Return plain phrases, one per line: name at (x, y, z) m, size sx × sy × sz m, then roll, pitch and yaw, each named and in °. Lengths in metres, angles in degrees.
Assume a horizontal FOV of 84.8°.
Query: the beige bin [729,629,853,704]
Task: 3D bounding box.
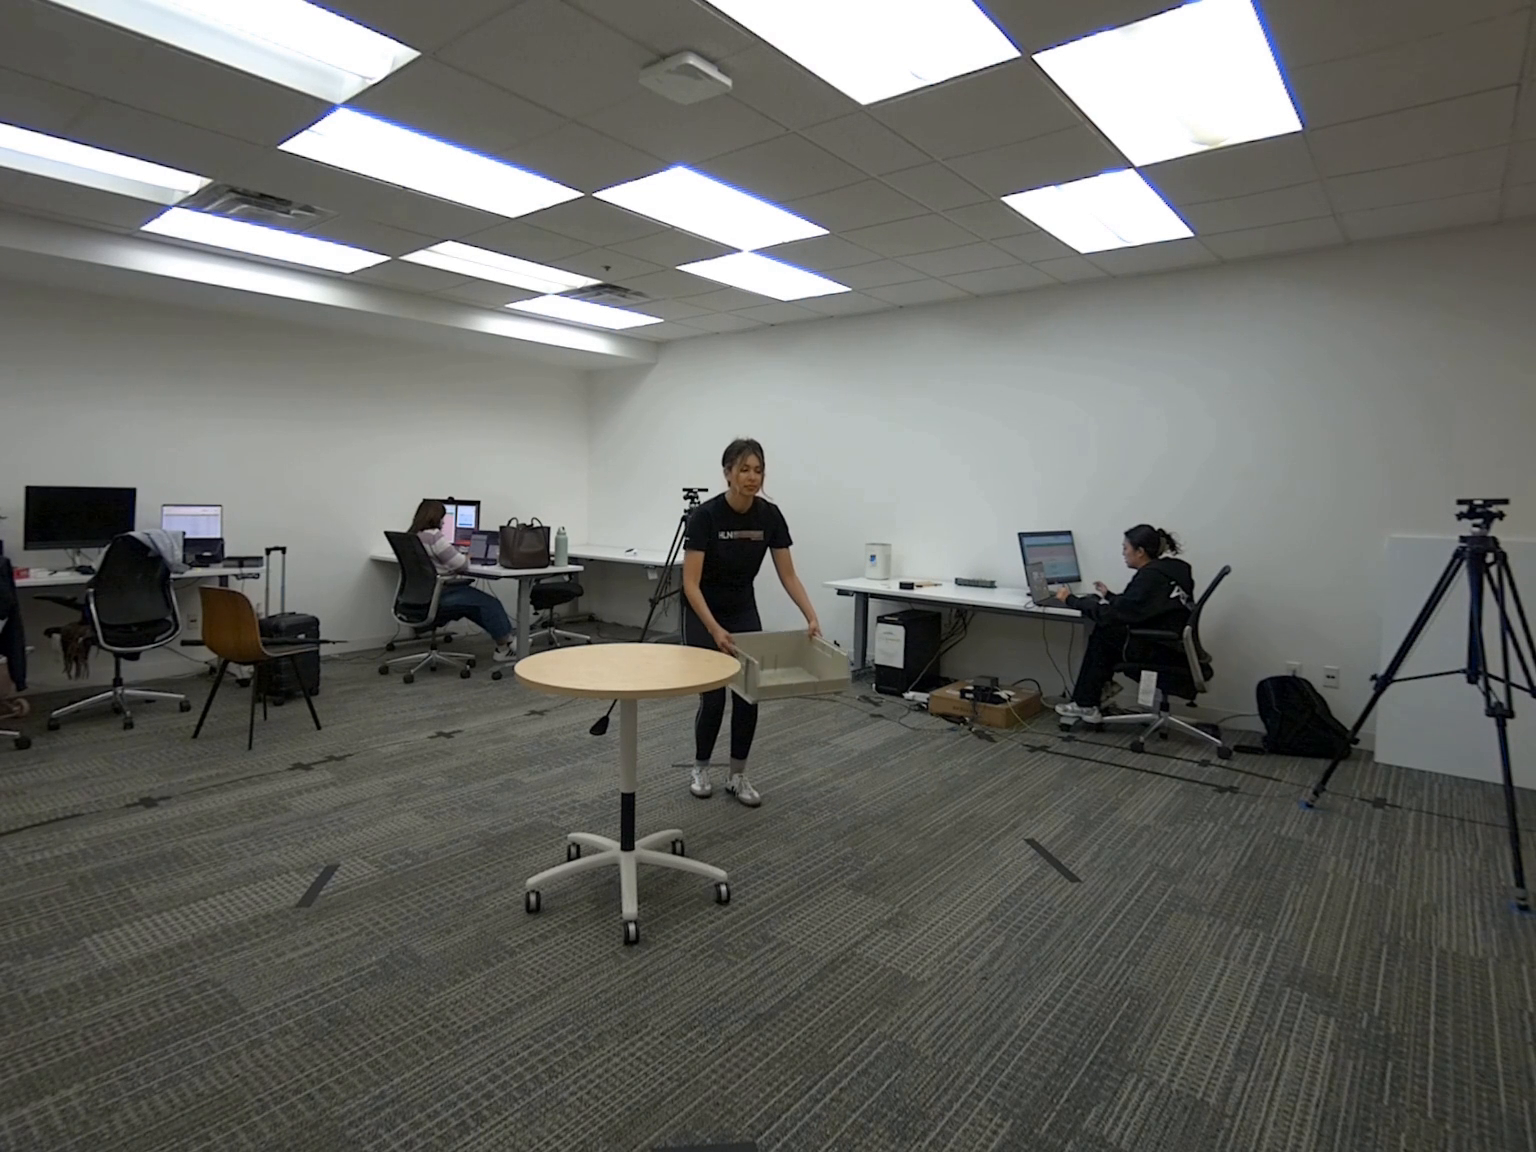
beige bin at (0.051, 0.366, 3.436) m, size 0.412 × 0.187 × 0.389 m, roll -2°, pitch 11°, yaw -25°
